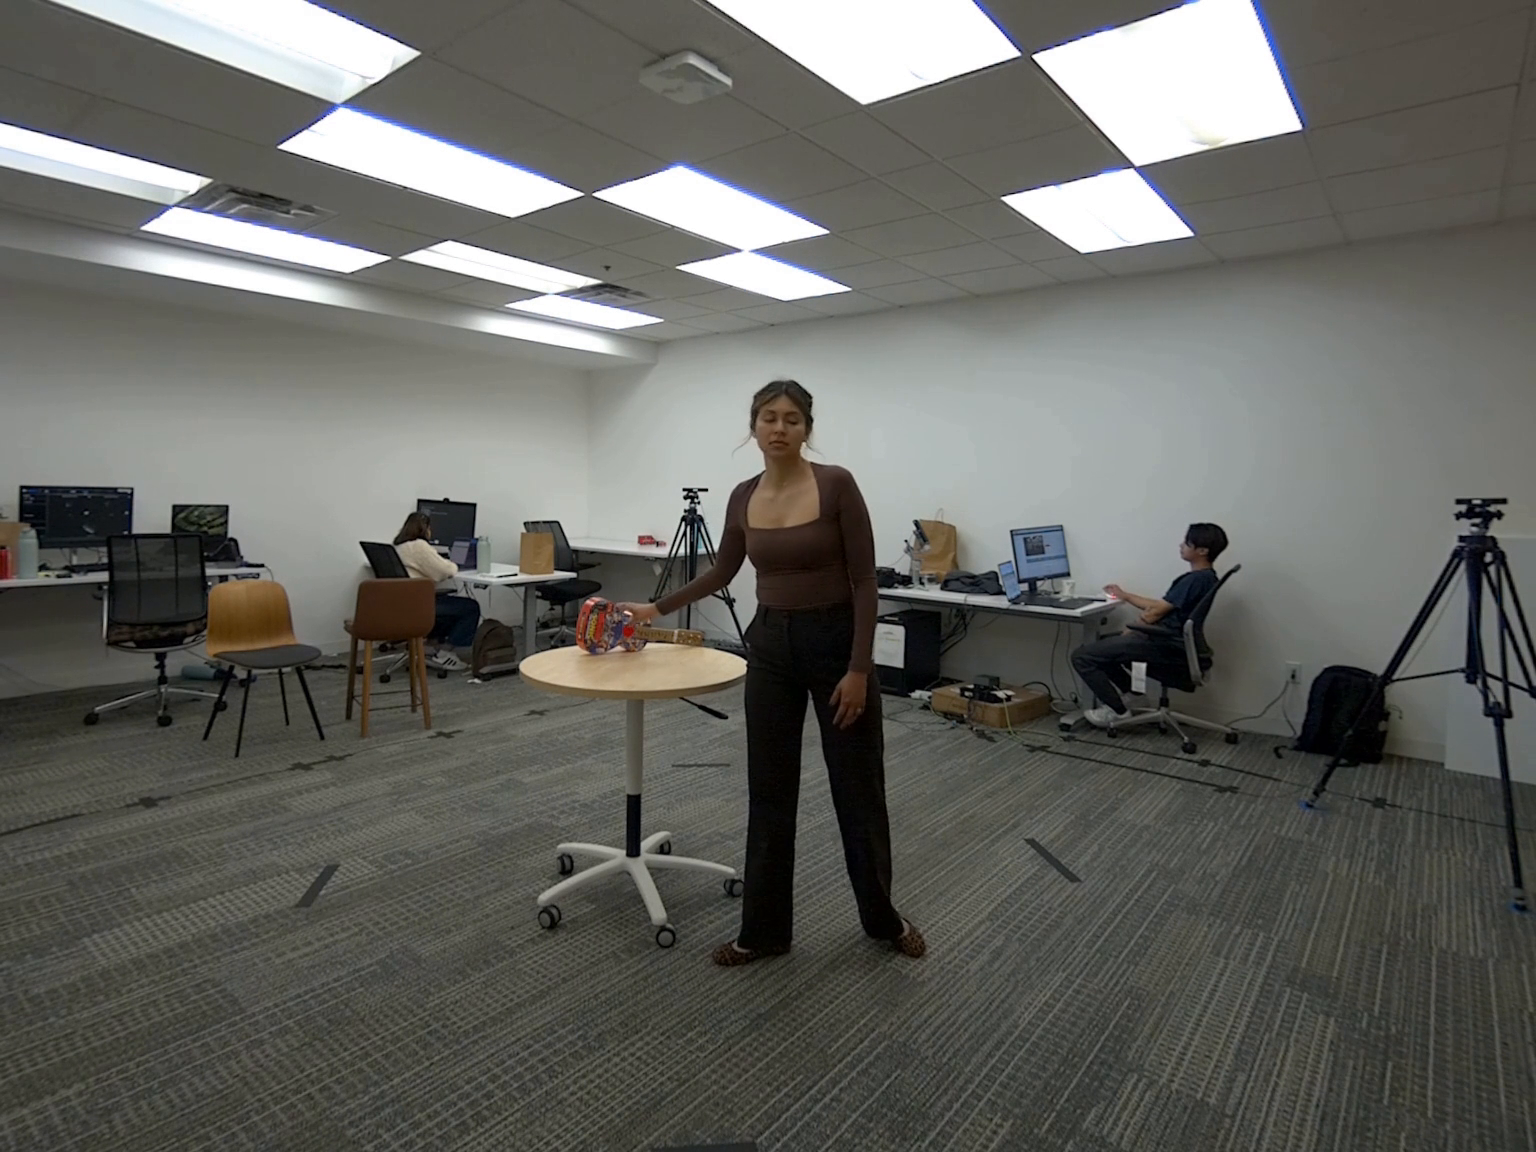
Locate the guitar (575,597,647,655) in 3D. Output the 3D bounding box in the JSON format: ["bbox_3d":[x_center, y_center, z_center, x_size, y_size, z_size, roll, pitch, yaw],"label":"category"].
[{"bbox_3d":[-0.476,0.229,3.092,0.480,0.193,0.073,21,-6,-33],"label":"guitar"}]
